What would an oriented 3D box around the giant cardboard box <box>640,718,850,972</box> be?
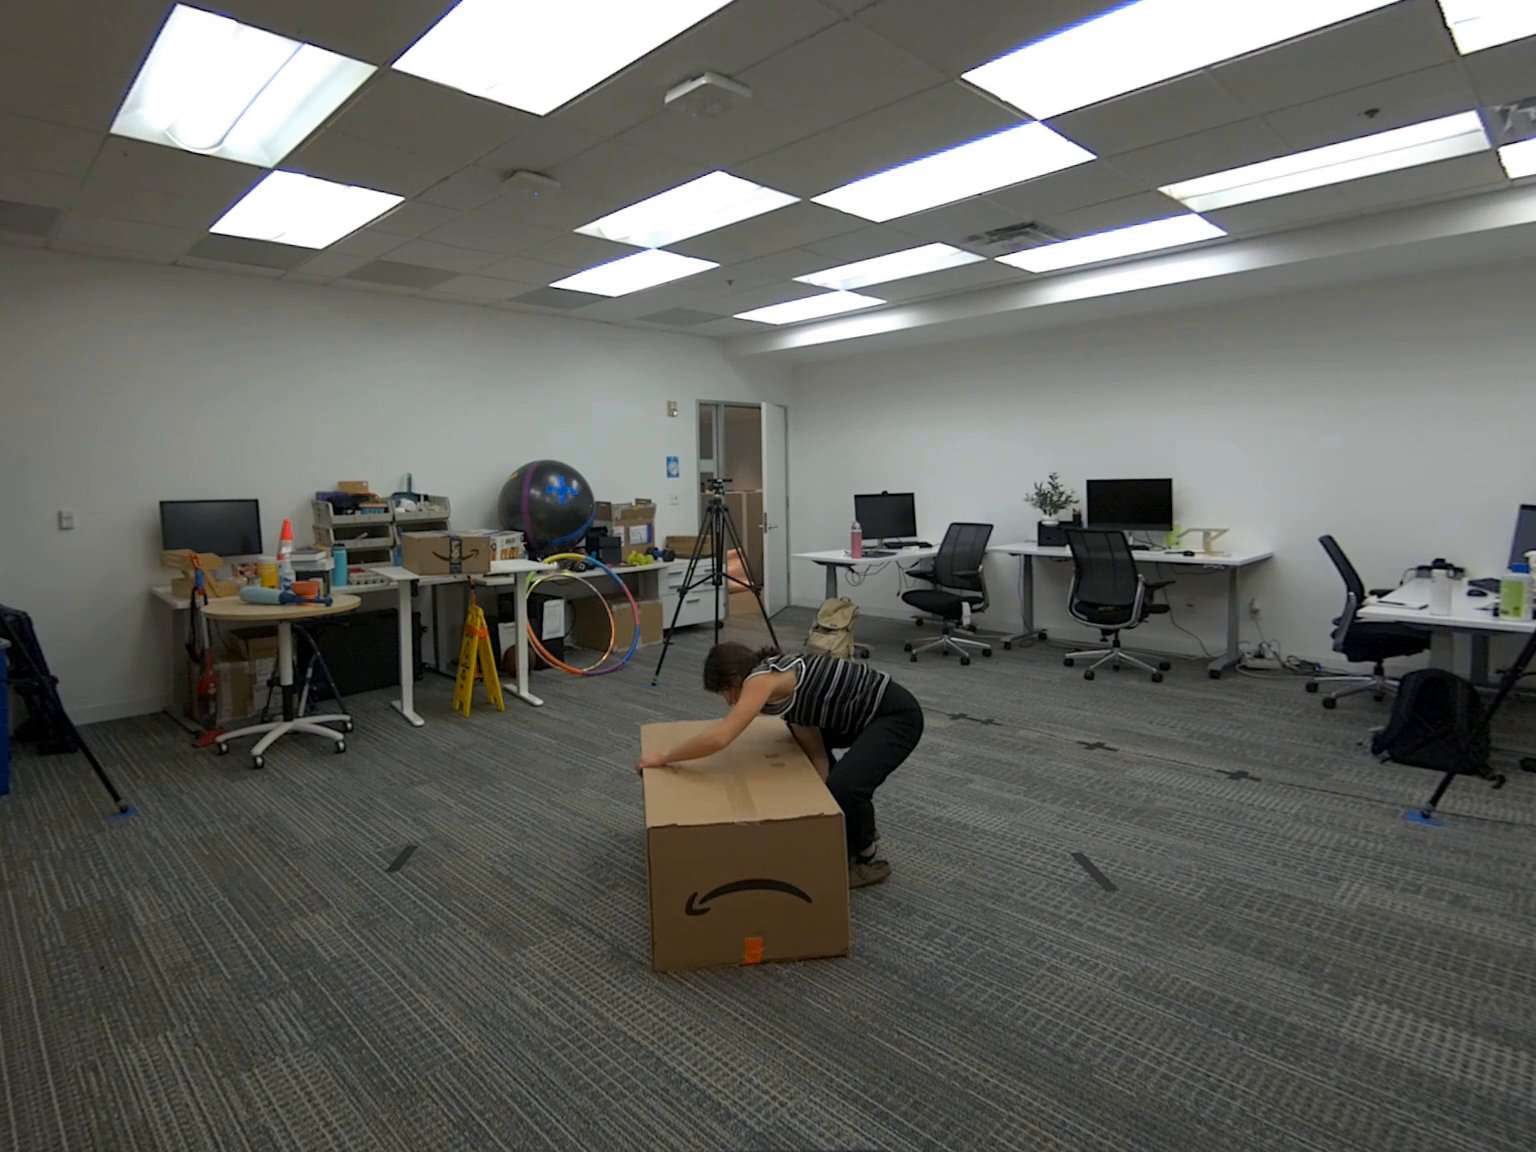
[{"bbox_3d":[-0.137,0.847,2.945,0.574,0.424,1.038,-3,6,-8],"label":"giant cardboard box"}]
